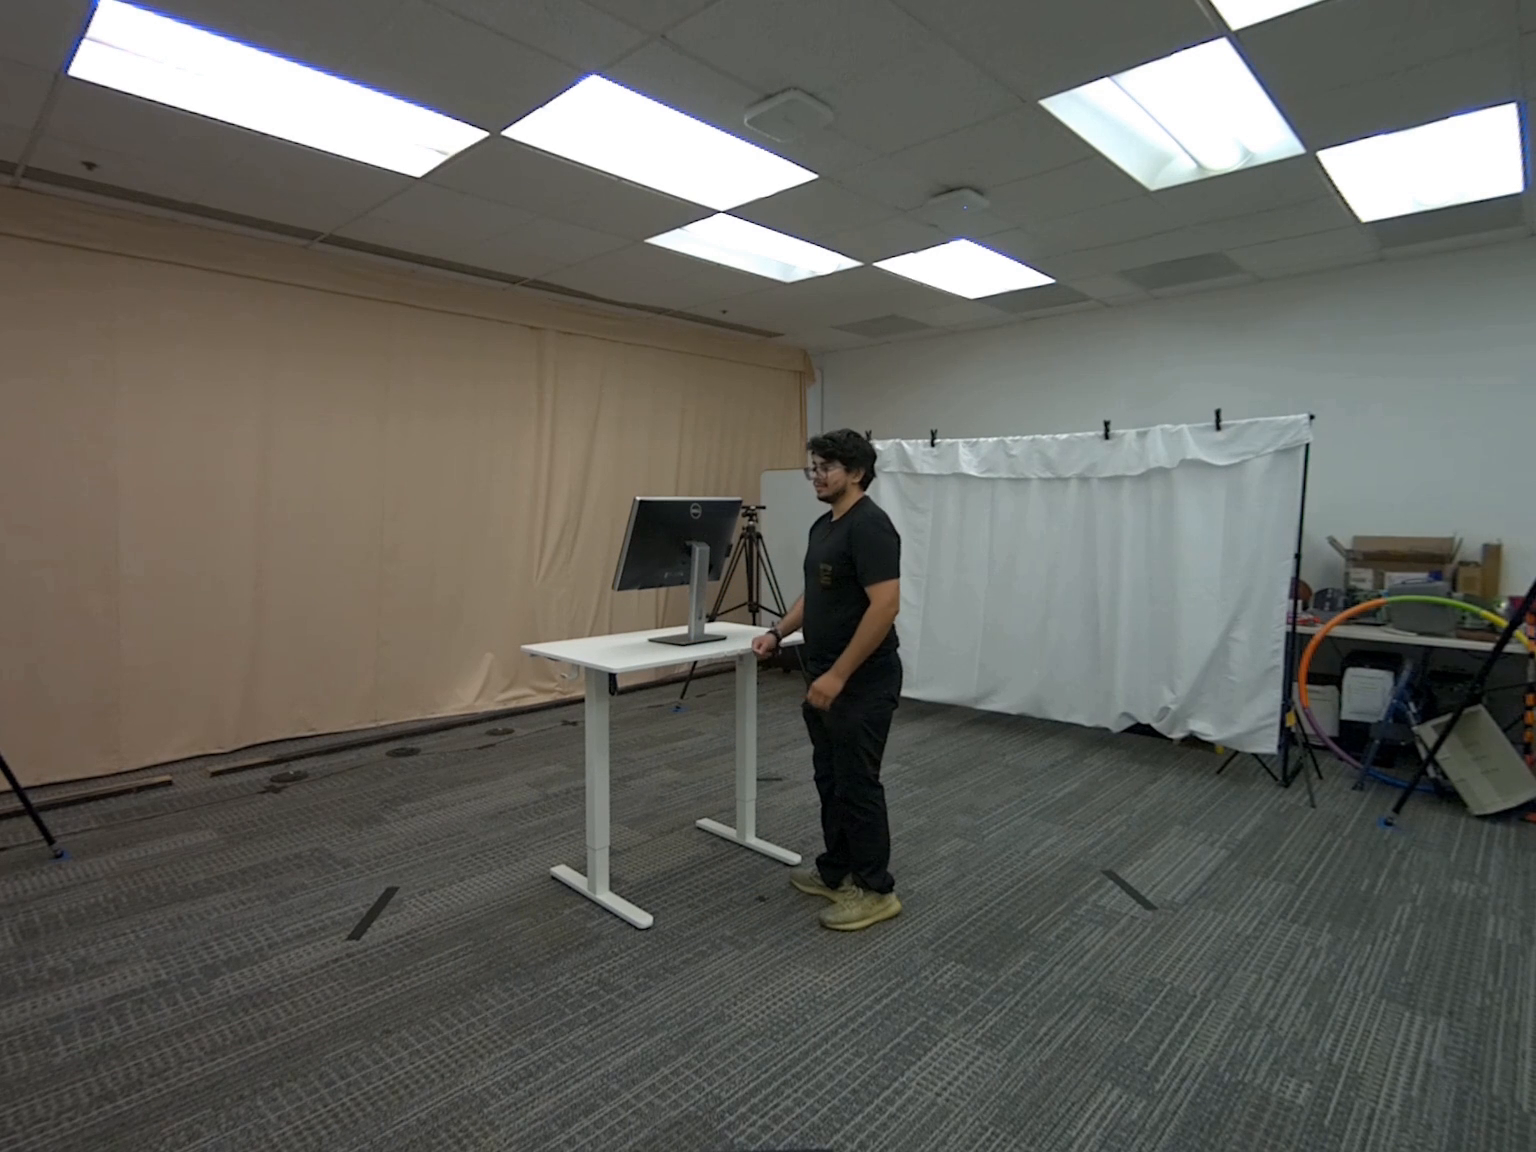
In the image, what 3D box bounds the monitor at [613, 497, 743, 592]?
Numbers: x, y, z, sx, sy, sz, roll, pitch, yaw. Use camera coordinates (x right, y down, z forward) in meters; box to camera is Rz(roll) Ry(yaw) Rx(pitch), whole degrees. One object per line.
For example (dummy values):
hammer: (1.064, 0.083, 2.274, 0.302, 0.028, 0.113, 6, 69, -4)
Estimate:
monitor: (-0.286, -0.021, 3.169, 0.218, 0.551, 0.548, 16, 13, 39)
